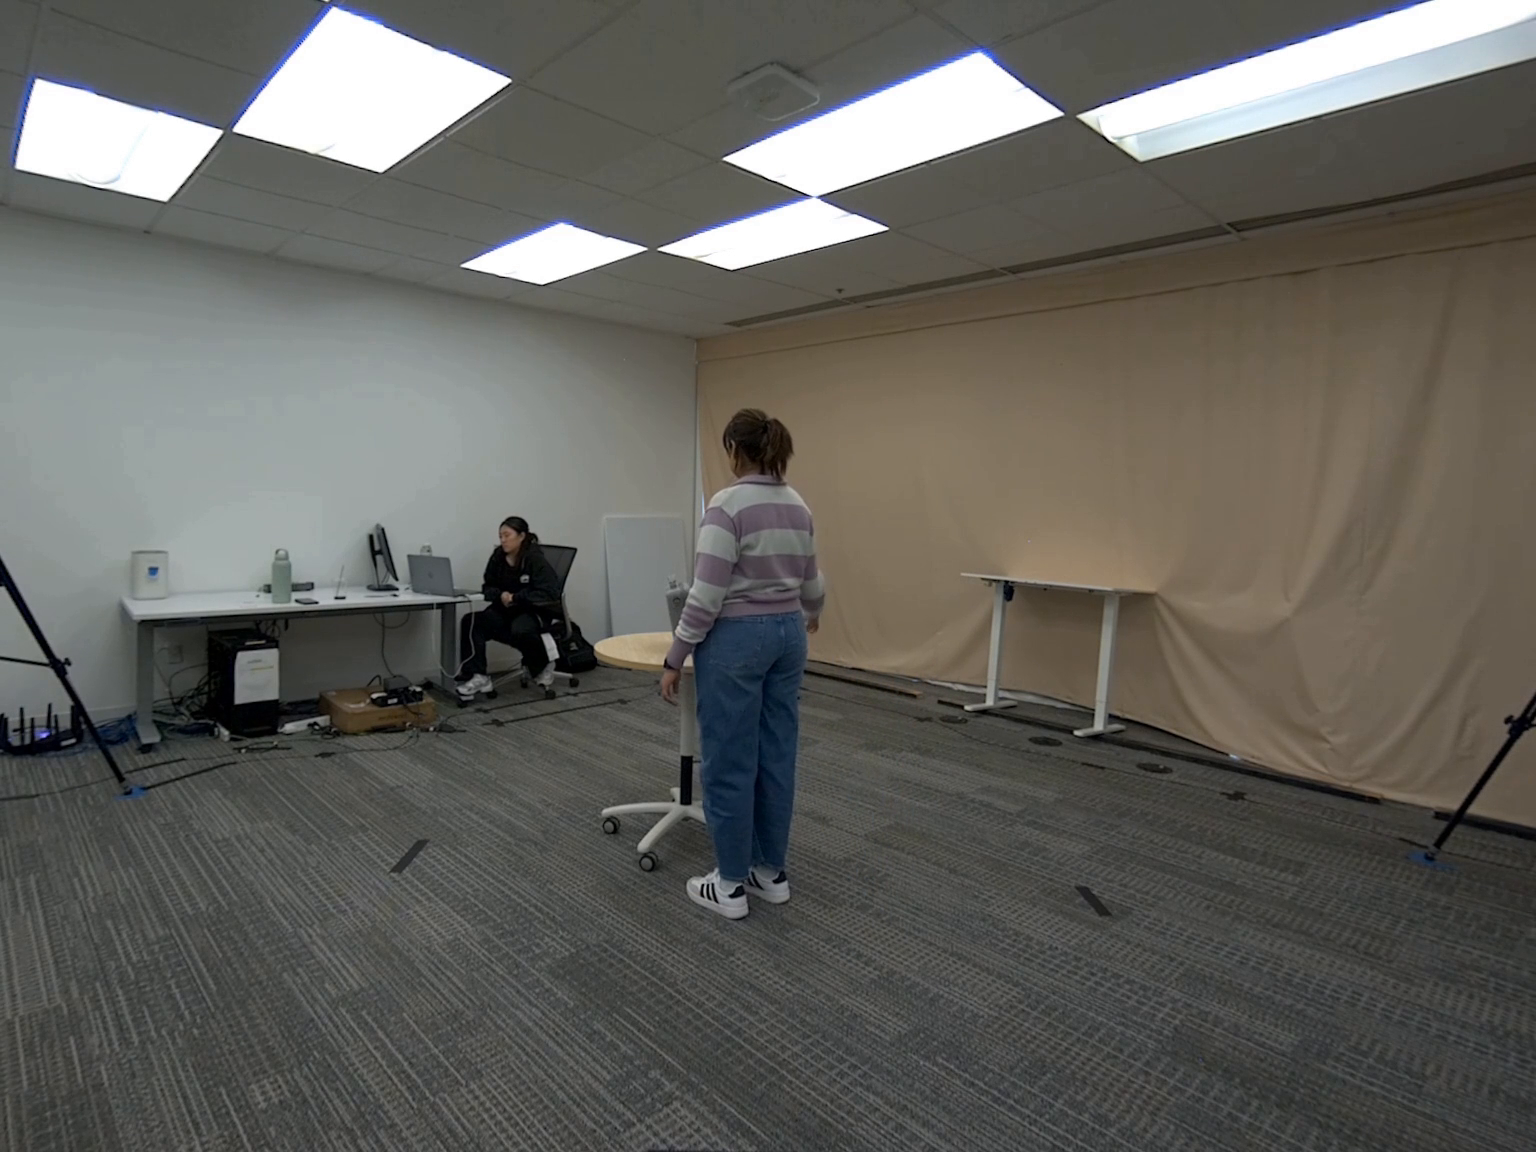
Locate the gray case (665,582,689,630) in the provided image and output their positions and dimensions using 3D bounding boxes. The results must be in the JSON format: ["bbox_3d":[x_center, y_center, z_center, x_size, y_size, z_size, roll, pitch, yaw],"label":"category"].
[{"bbox_3d":[-0.344,0.160,3.368,0.104,0.260,0.258,-8,4,-4],"label":"gray case"}]
